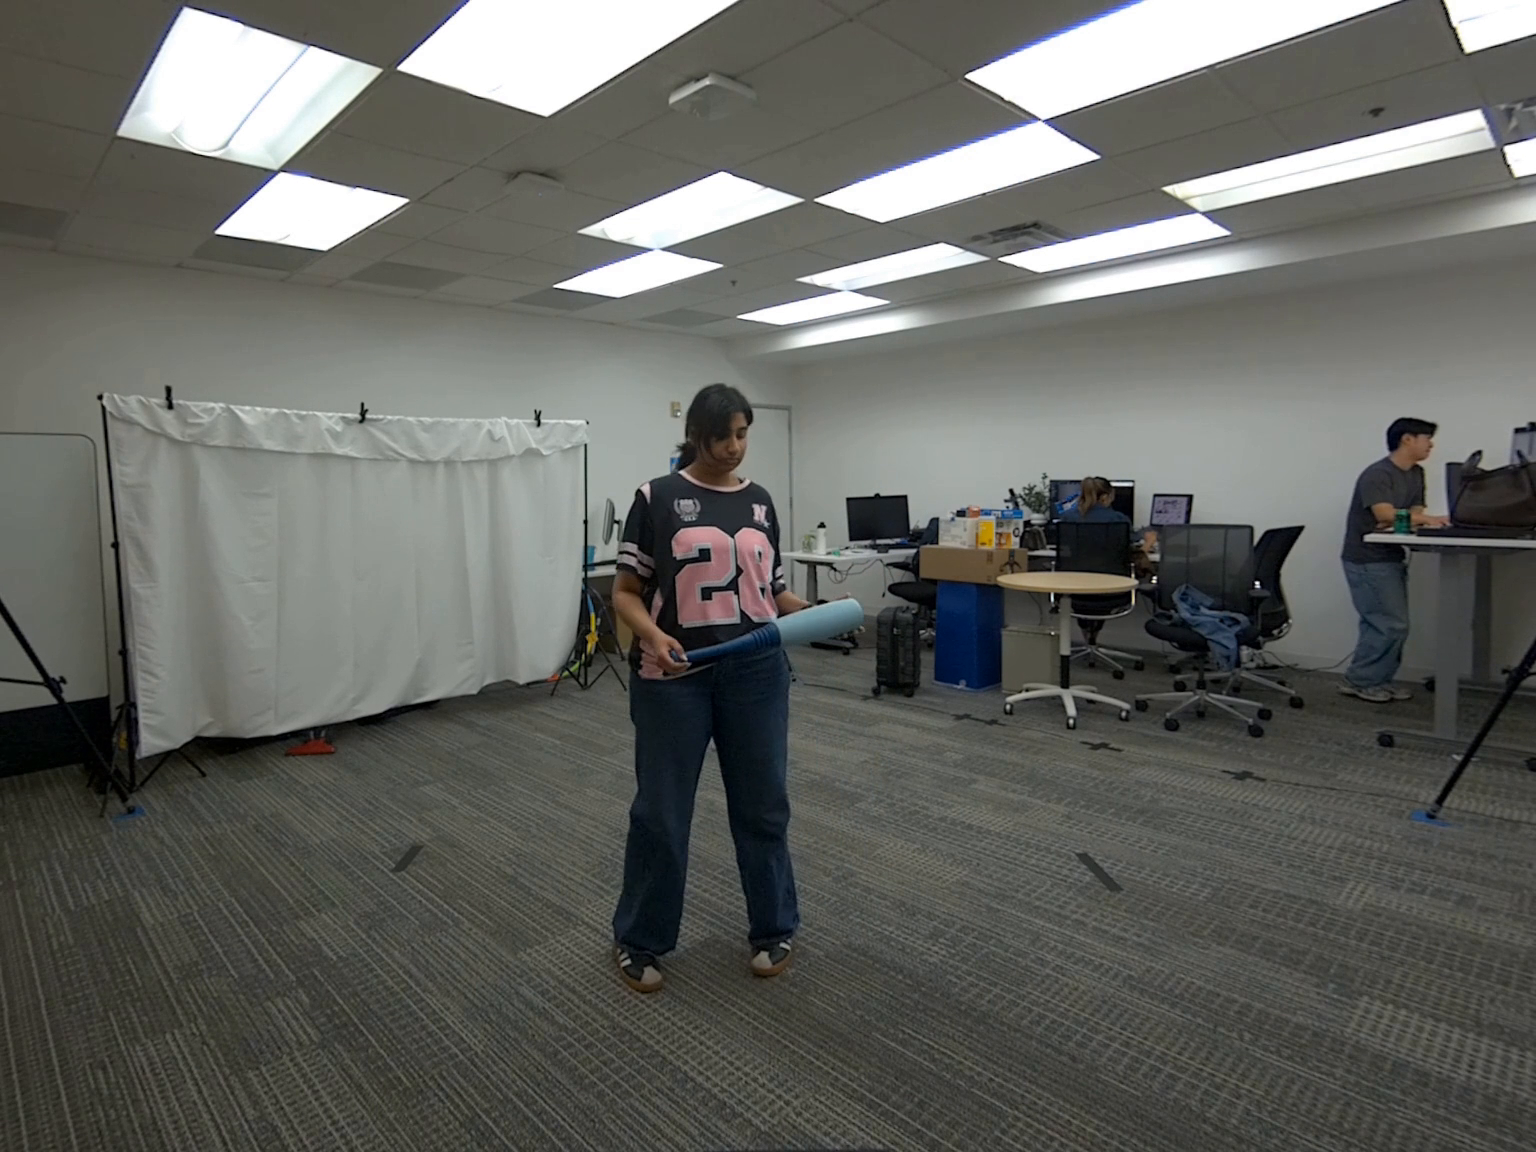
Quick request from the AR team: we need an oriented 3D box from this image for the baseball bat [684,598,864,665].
[{"bbox_3d":[-0.007,0.160,2.227,0.535,0.088,0.091,-14,9,-21],"label":"baseball bat"}]
